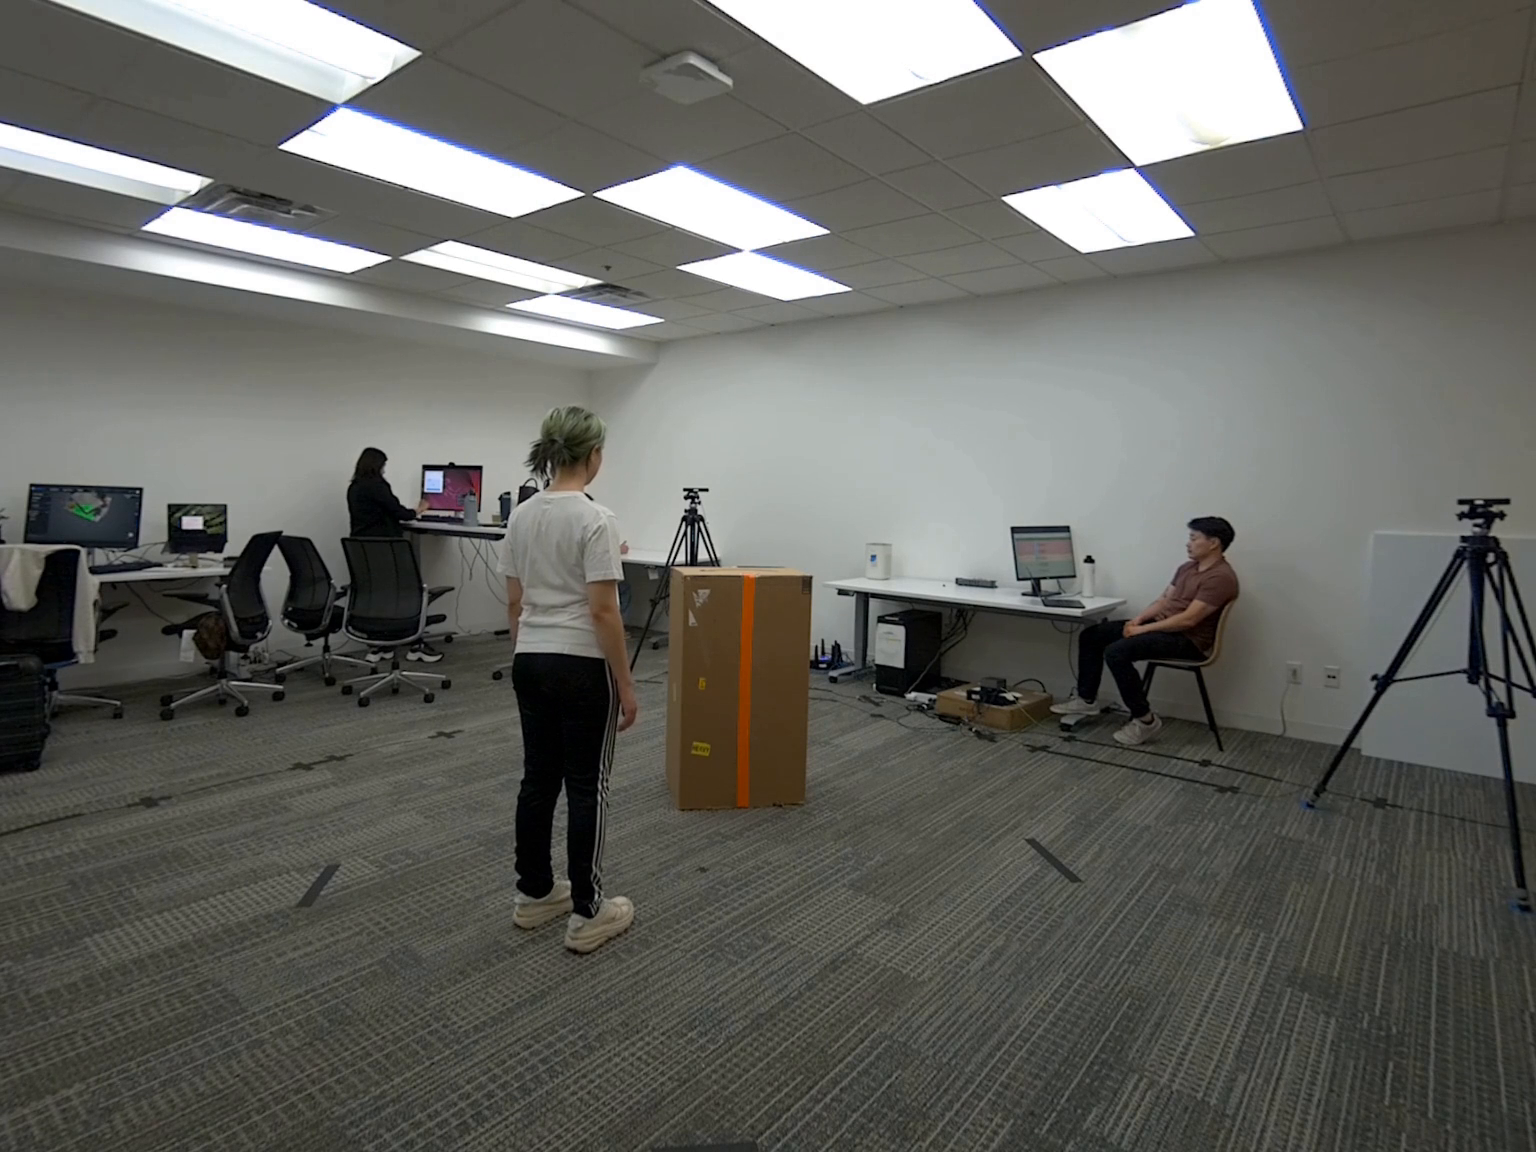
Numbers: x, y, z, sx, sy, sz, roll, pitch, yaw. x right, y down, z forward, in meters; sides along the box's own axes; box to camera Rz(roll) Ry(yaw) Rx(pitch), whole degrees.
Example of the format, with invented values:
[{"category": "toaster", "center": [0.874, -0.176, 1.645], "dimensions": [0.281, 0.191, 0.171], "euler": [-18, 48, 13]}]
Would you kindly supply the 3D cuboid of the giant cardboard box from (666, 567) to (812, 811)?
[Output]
[{"category": "giant cardboard box", "center": [-0.157, 0.486, 3.912], "dimensions": [0.576, 1.025, 0.454], "euler": [1, 2, -14]}]
